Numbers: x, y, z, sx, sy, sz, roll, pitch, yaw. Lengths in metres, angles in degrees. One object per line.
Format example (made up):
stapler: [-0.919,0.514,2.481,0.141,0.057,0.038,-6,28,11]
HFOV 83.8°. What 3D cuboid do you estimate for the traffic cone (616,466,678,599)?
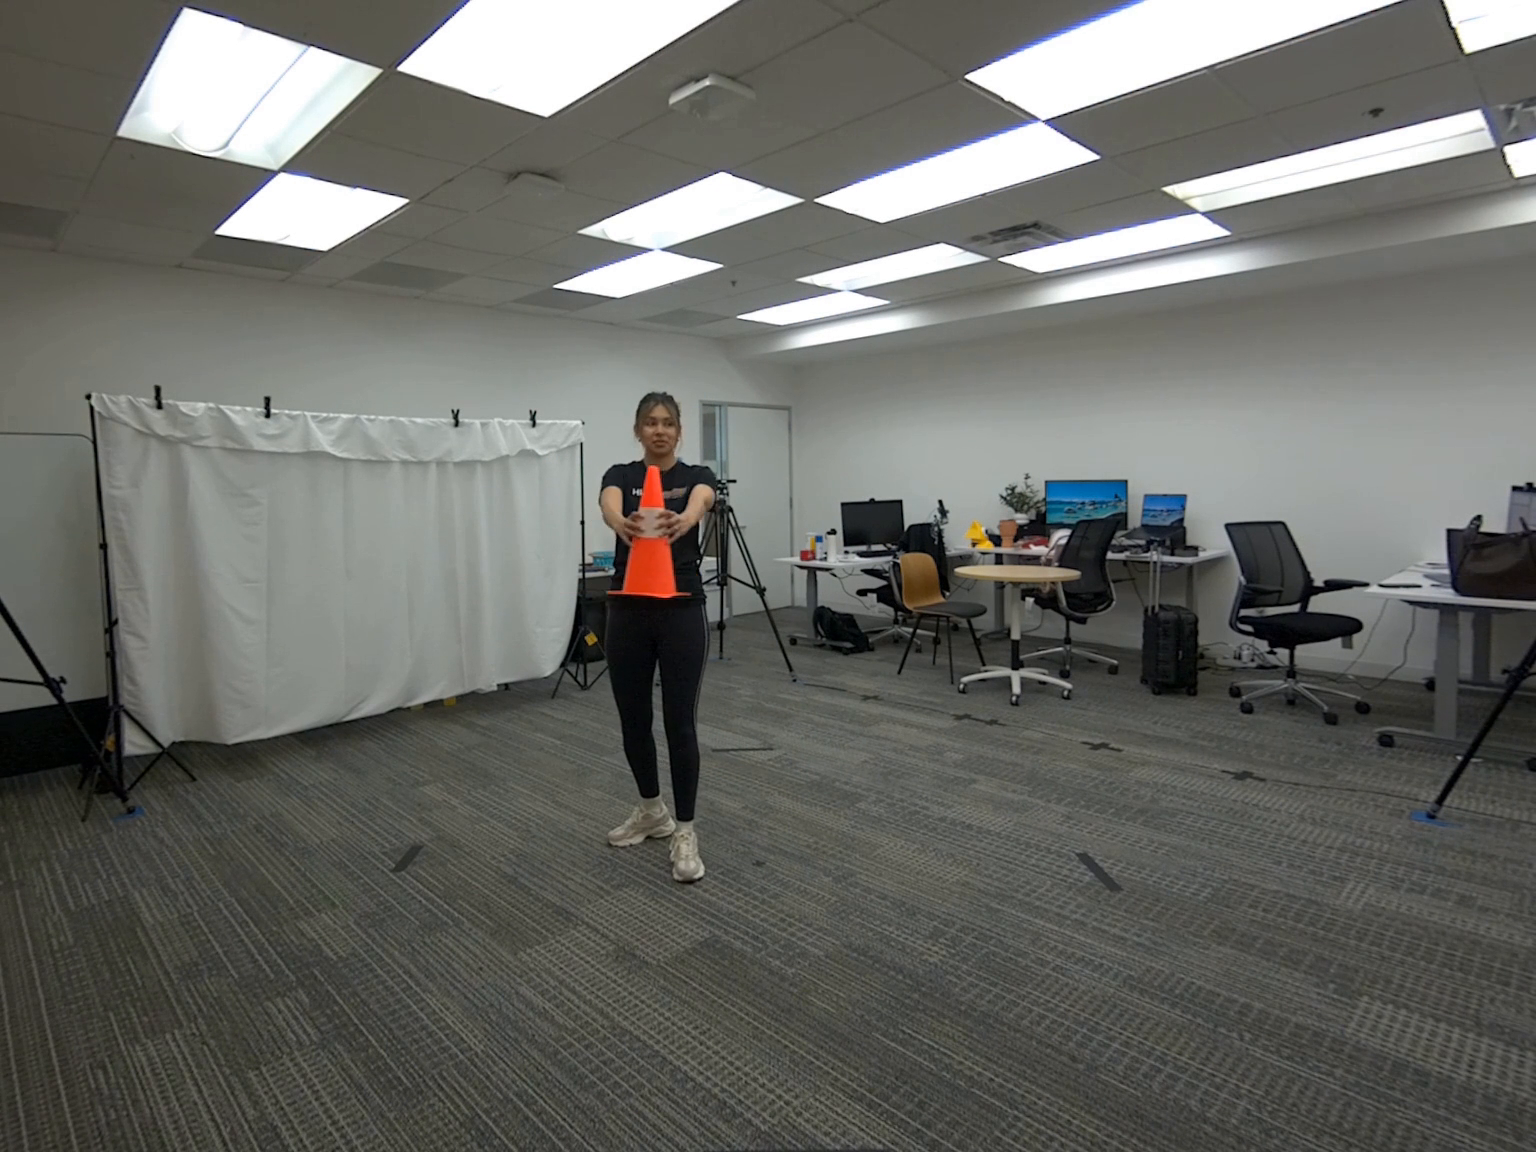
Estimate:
traffic cone: [-0.352,-0.136,2.575,0.201,0.383,0.207,1,1,-22]
